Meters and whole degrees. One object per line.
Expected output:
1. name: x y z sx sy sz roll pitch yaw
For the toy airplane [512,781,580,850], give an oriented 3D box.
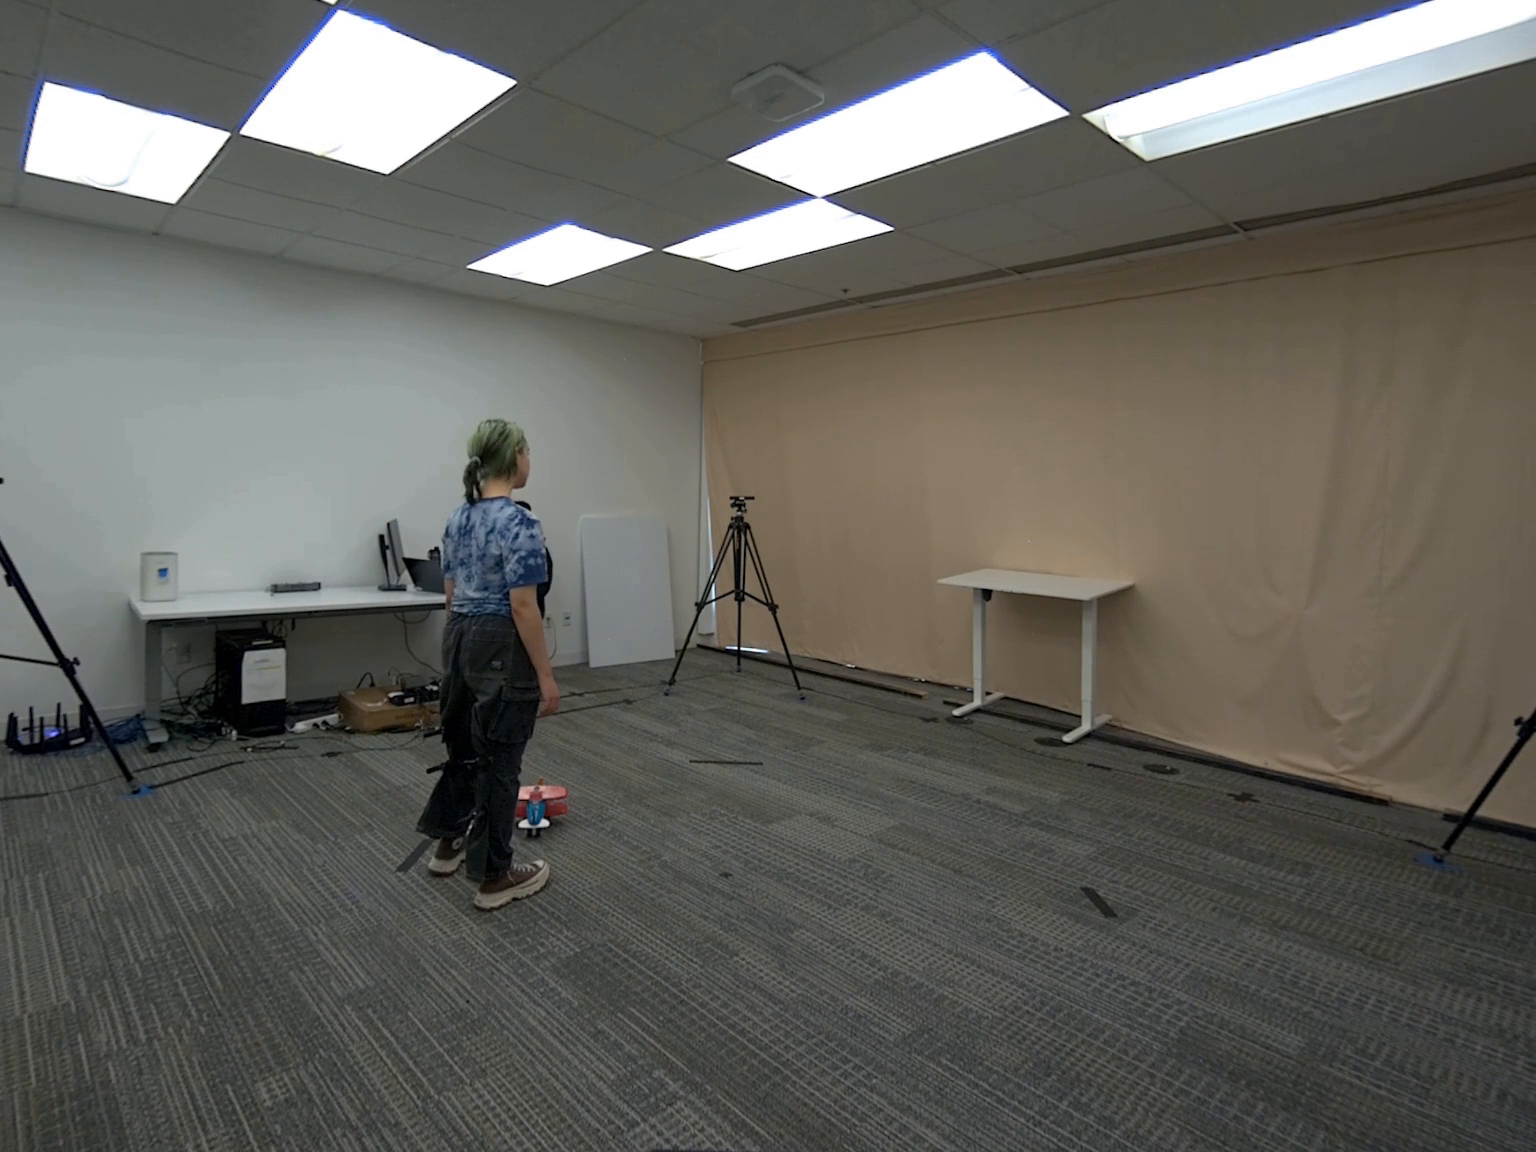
1. toy airplane: -0.954 0.981 3.502 0.245 0.156 0.265 -2 4 -37
